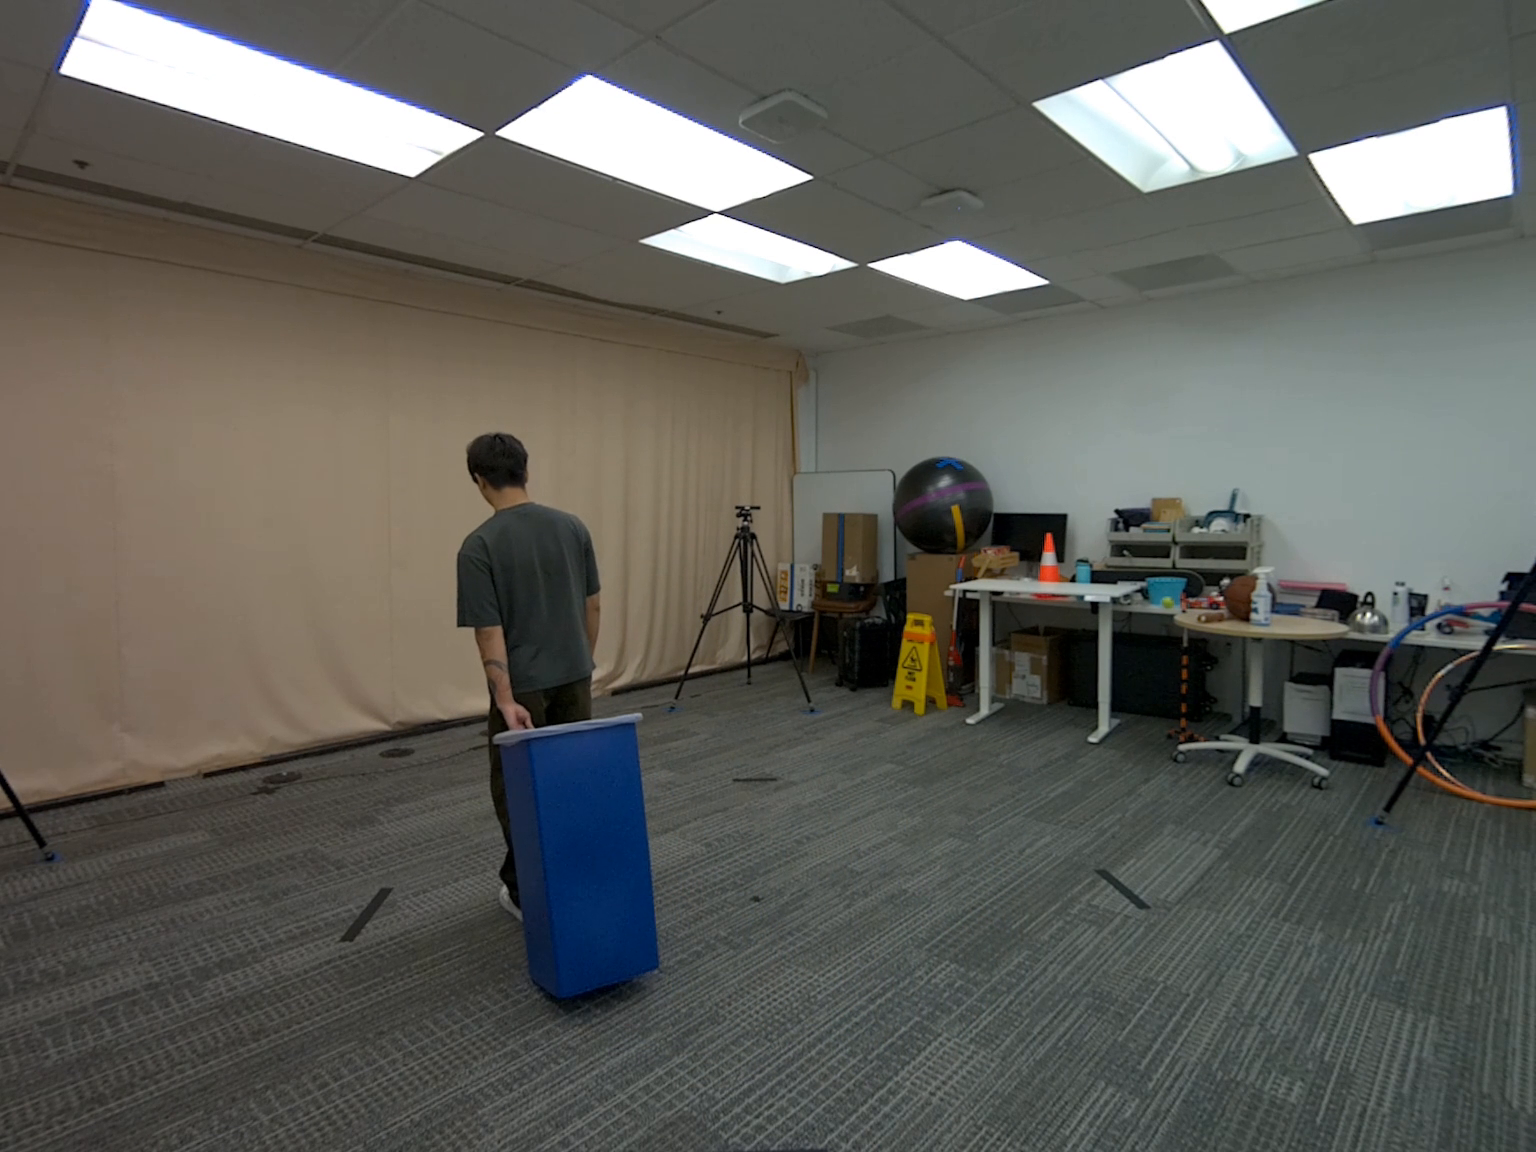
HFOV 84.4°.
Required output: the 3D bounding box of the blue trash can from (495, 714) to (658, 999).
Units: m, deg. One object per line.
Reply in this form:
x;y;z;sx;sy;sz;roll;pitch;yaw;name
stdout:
-0.564;0.804;2.497;0.364;0.720;0.385;-2;-12;-32;blue trash can
